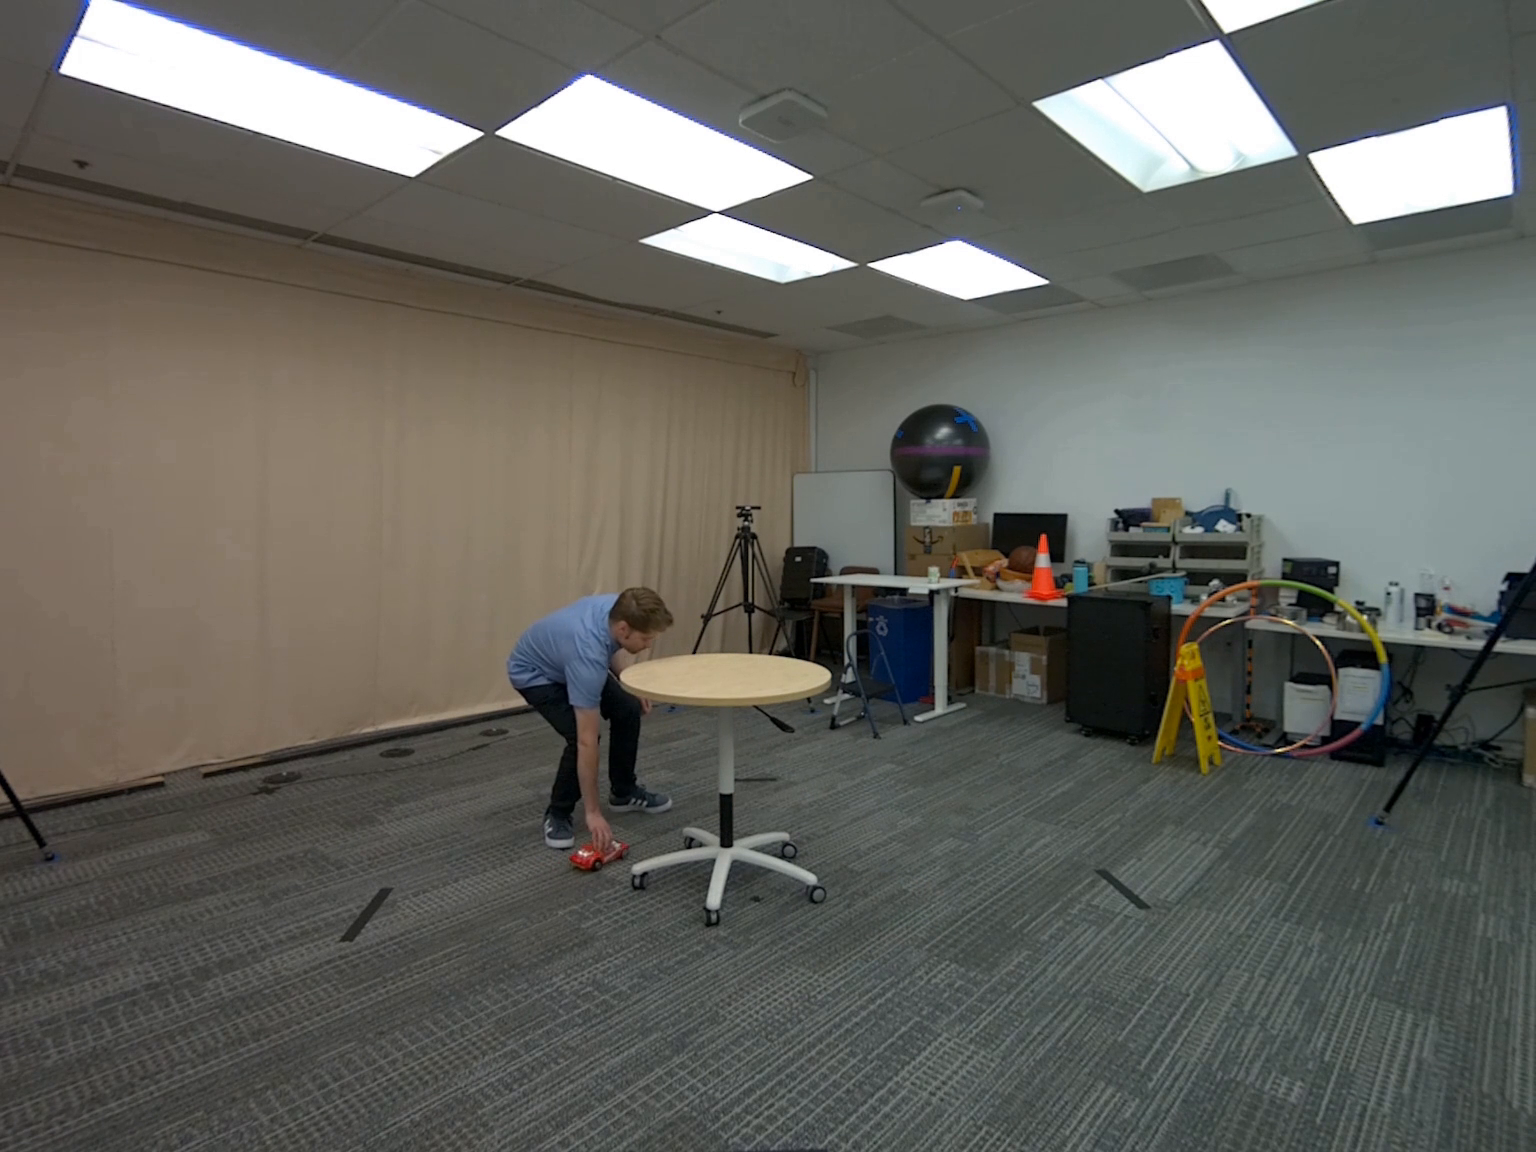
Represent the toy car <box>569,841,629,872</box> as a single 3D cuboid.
[{"bbox_3d":[-0.667,1.095,3.296,0.134,0.083,0.246,3,-5,41],"label":"toy car"}]
